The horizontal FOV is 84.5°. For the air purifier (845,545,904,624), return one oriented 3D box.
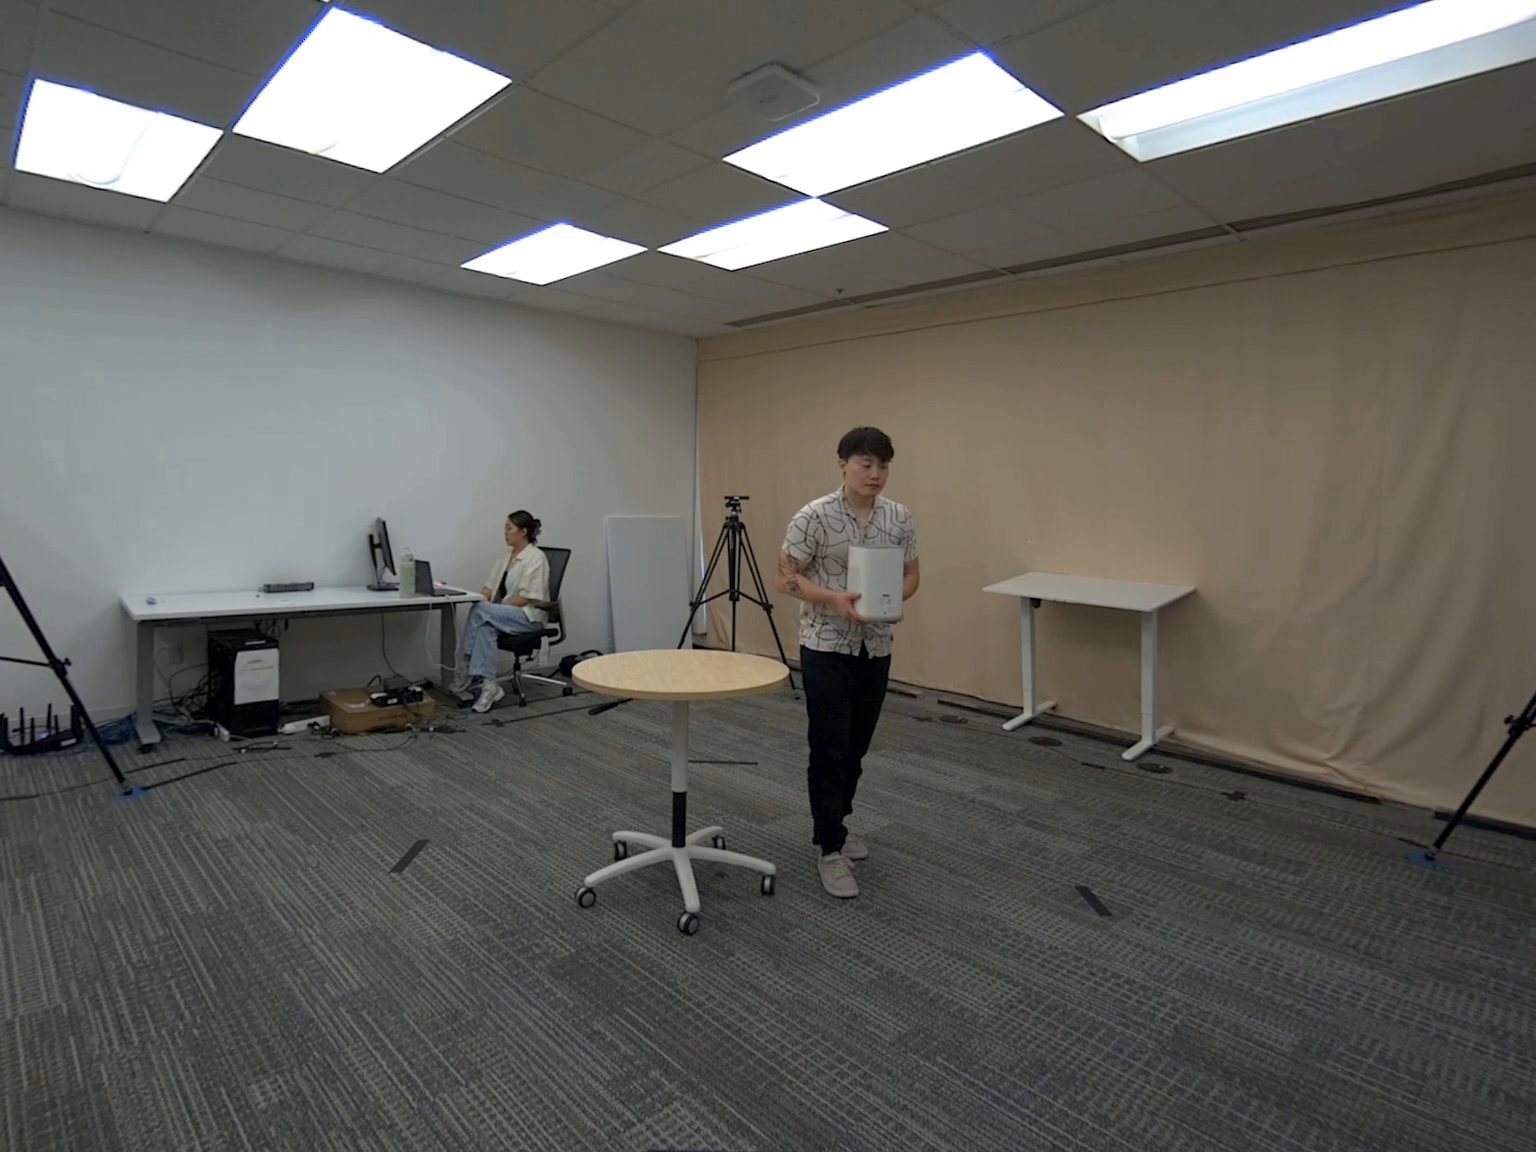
[{"bbox_3d":[0.366,0.024,2.994,0.169,0.265,0.174,3,4,-16],"label":"air purifier"}]
